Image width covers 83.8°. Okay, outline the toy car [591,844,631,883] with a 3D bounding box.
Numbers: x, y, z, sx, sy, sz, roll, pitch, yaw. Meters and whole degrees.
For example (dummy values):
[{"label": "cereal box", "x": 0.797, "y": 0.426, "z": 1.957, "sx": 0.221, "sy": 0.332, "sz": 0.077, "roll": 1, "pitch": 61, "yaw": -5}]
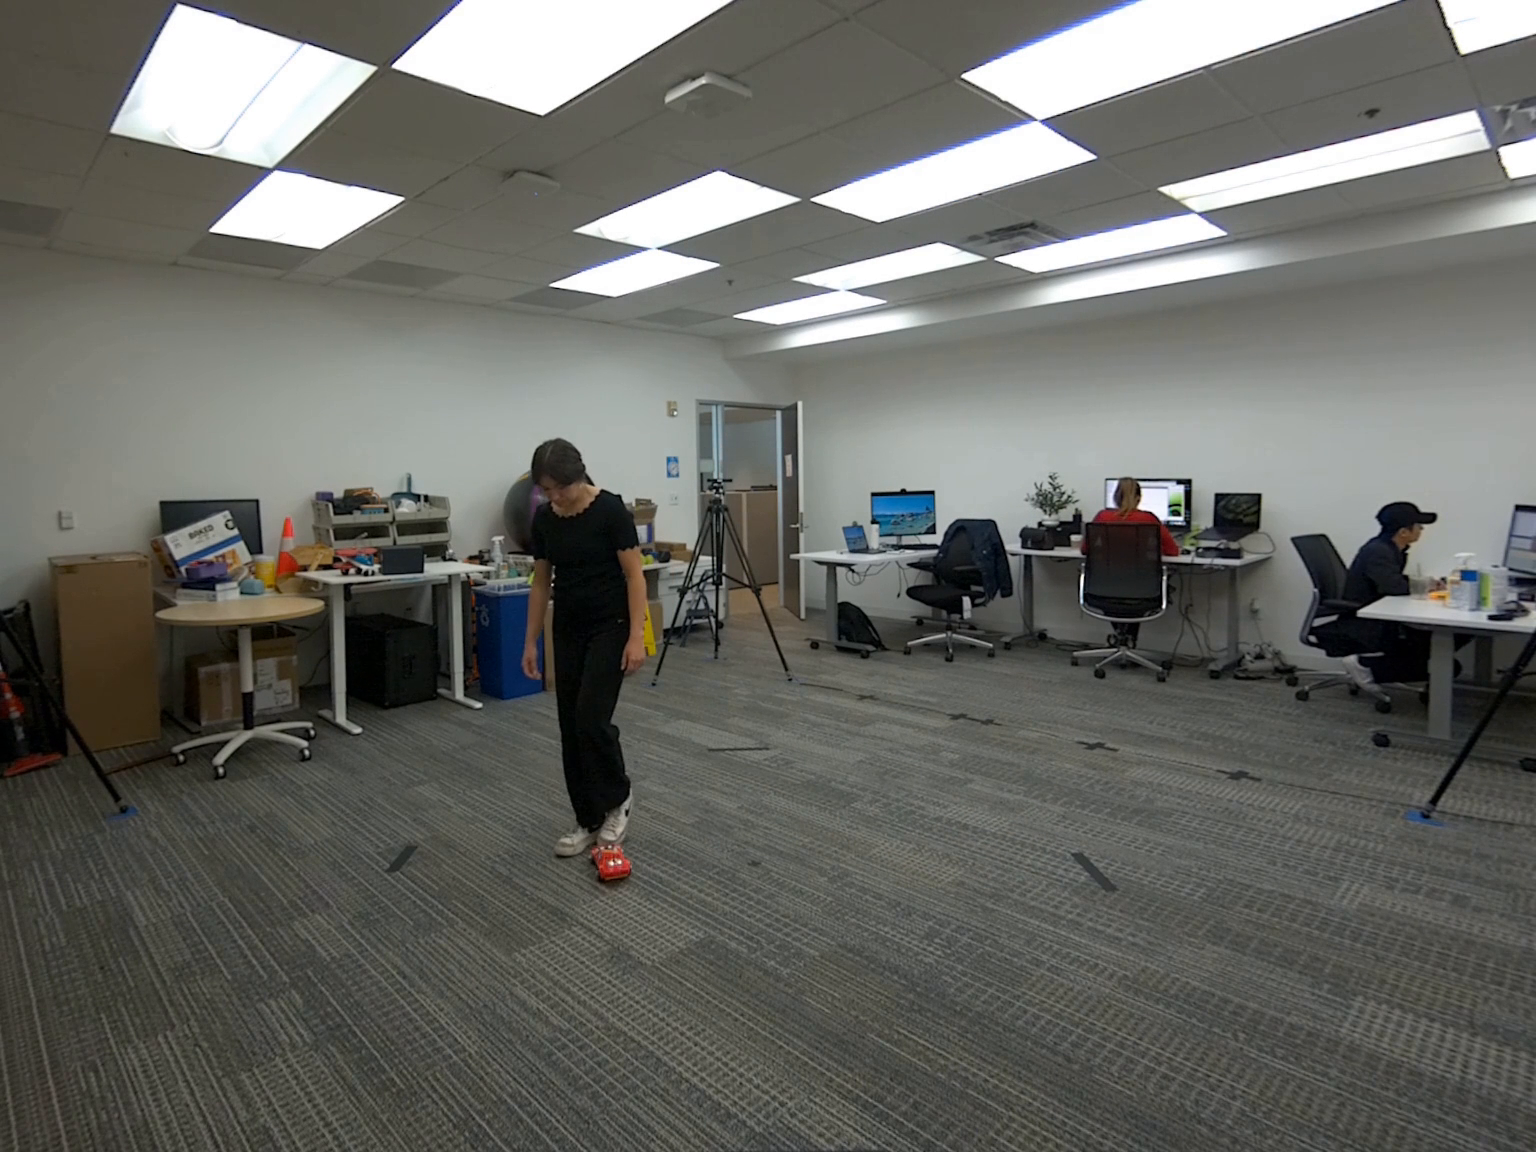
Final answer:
[{"label": "toy car", "x": -0.564, "y": 1.029, "z": 3.050, "sx": 0.128, "sy": 0.084, "sz": 0.257, "roll": -3, "pitch": -5, "yaw": -21}]
